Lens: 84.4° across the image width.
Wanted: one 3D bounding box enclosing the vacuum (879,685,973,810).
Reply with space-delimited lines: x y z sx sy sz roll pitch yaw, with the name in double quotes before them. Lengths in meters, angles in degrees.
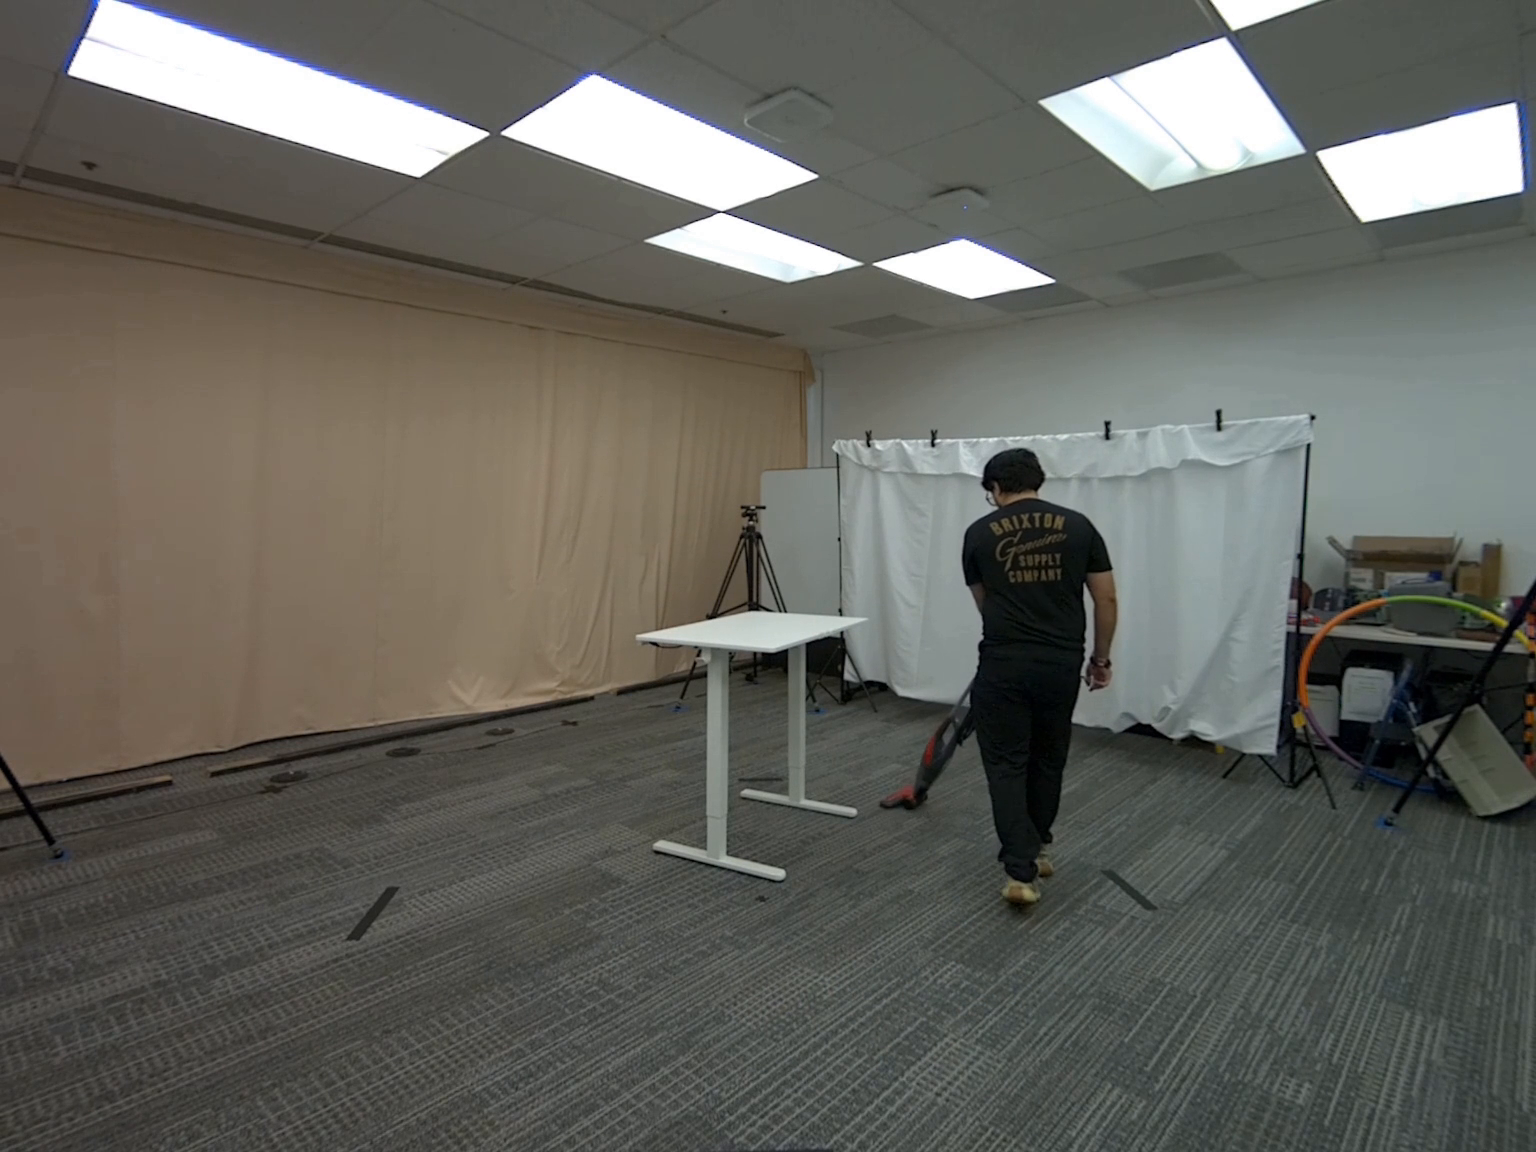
"vacuum" 0.826 0.643 3.669 0.246 1.044 0.148 -14 47 -46
